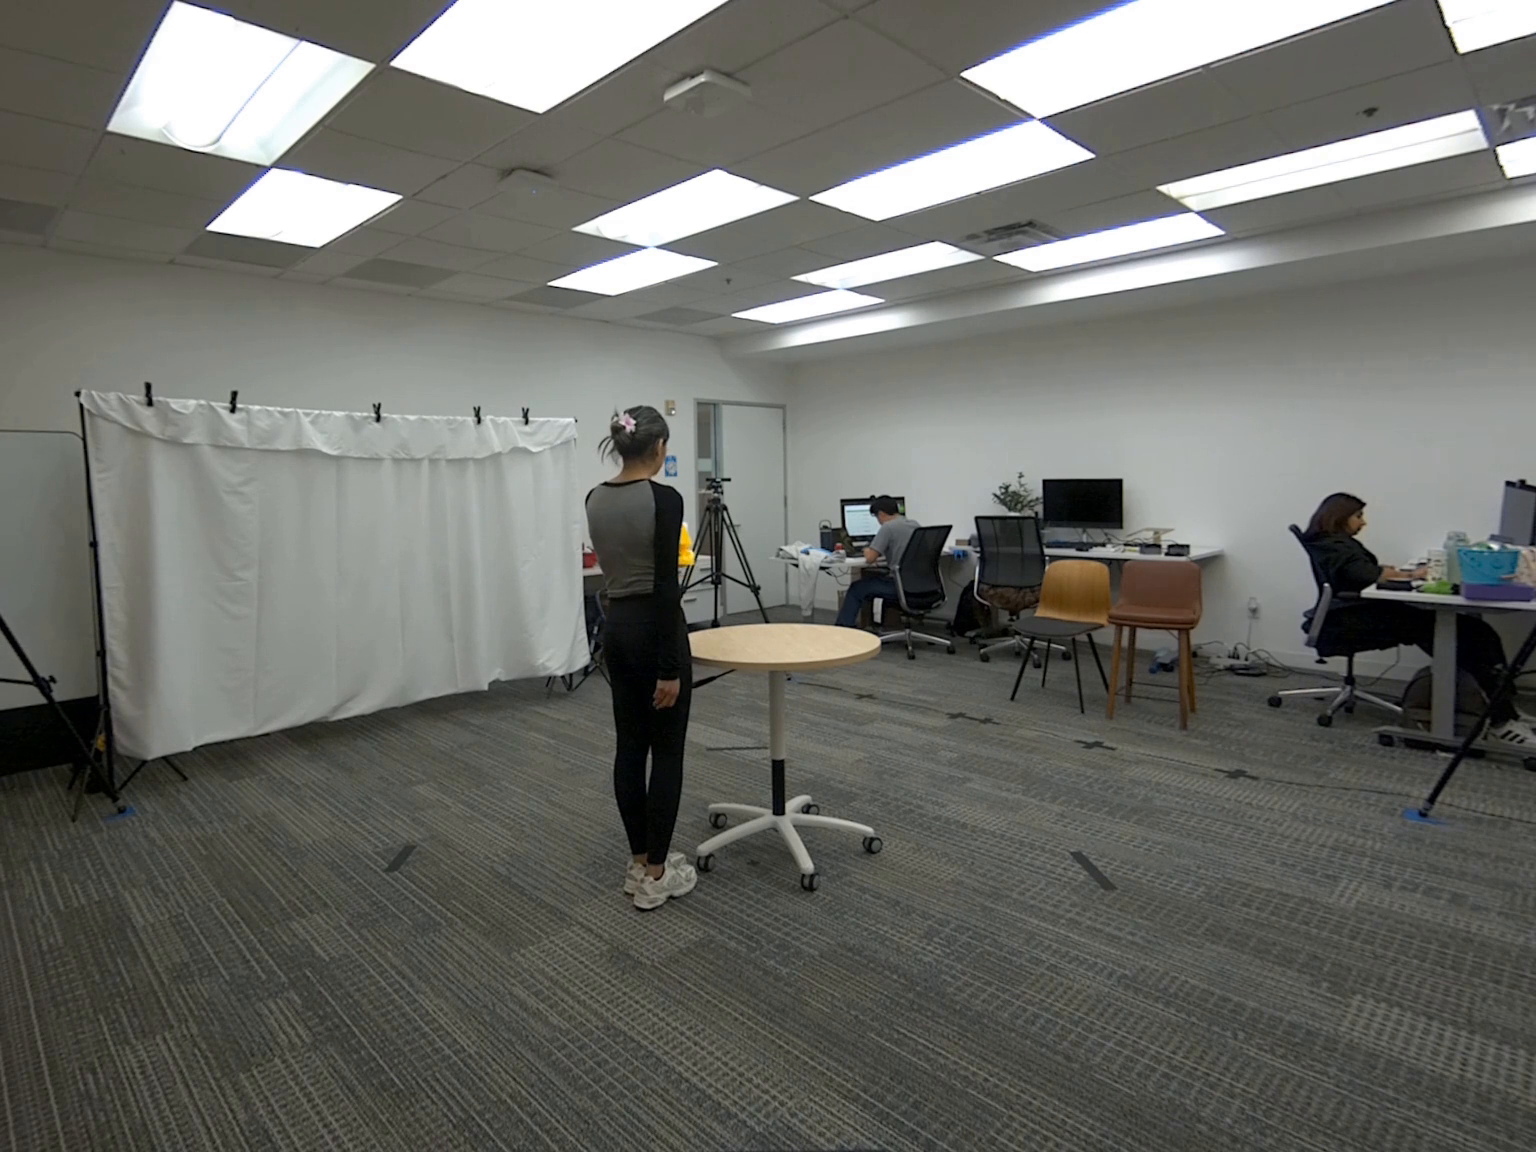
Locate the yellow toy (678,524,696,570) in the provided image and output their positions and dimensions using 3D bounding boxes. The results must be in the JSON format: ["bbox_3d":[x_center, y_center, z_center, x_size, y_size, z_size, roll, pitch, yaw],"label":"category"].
[{"bbox_3d":[-0.385,-0.164,3.402,0.206,0.231,0.192,2,0,5],"label":"yellow toy"}]
